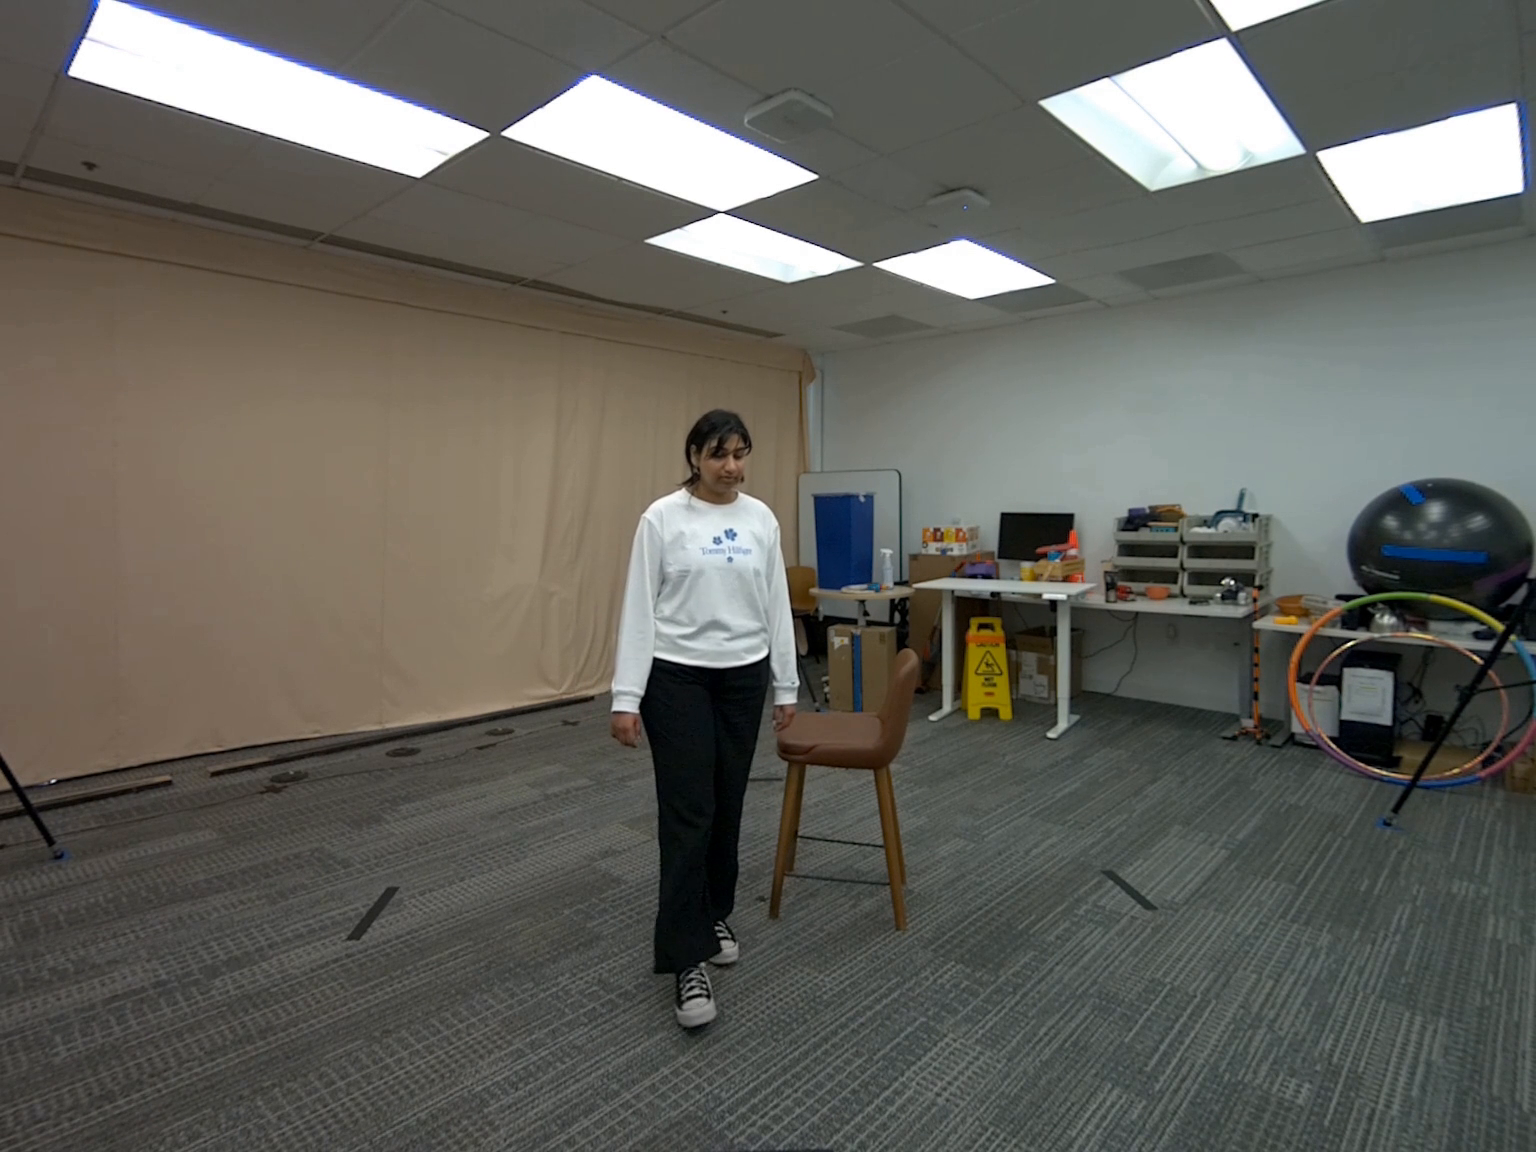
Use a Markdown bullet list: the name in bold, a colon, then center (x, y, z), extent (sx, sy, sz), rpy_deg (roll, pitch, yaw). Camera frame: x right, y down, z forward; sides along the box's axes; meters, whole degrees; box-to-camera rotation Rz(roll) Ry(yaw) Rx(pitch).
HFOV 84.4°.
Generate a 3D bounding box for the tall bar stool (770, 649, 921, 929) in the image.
- **tall bar stool**: center (0.272, 0.710, 2.963), extent (0.474, 0.888, 0.451), rpy_deg (3, 4, 12)
